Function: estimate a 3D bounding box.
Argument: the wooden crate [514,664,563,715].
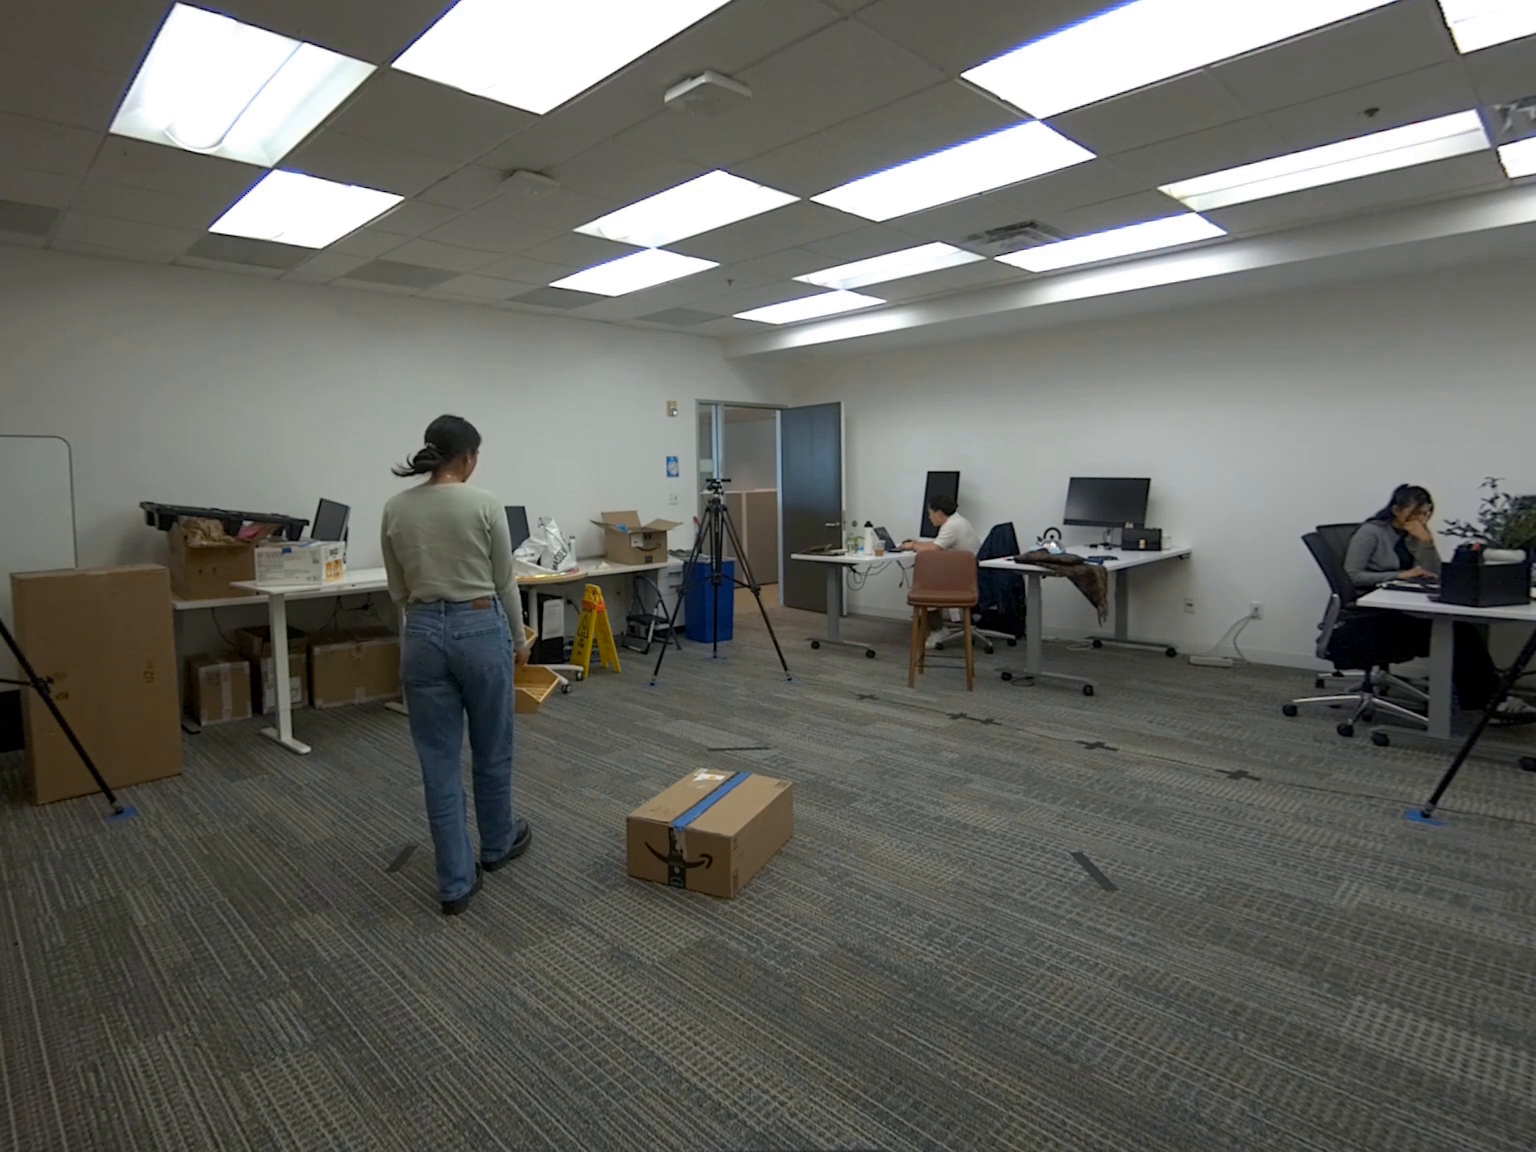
[{"bbox_3d":[-0.943,0.331,3.210,0.303,0.271,0.326,1,9,3],"label":"wooden crate"}]
